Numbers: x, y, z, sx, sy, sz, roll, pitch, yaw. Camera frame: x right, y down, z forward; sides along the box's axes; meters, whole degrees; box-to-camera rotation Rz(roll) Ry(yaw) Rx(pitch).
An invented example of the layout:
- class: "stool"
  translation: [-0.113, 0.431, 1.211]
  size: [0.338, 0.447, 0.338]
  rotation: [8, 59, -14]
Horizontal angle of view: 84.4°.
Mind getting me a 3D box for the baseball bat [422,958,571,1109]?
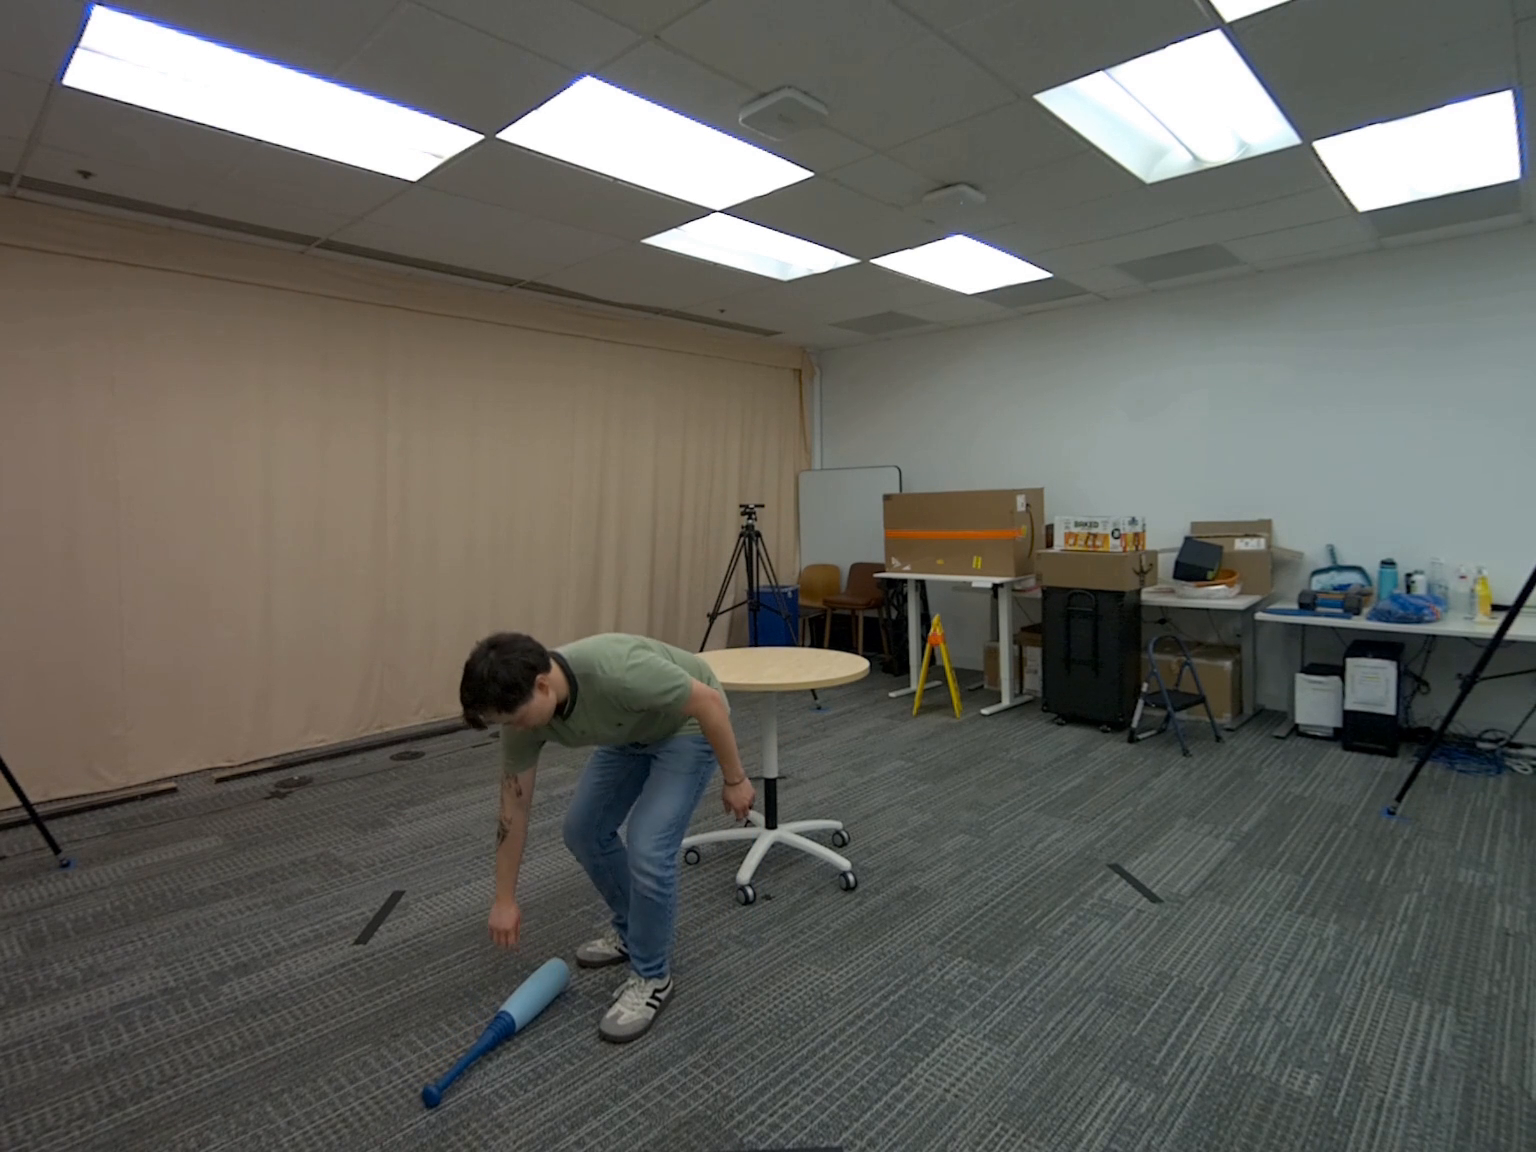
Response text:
- class: "baseball bat"
  translation: [-0.700, 1.188, 2.197]
  size: [0.091, 0.088, 0.532]
  rotation: [1, 8, 22]
